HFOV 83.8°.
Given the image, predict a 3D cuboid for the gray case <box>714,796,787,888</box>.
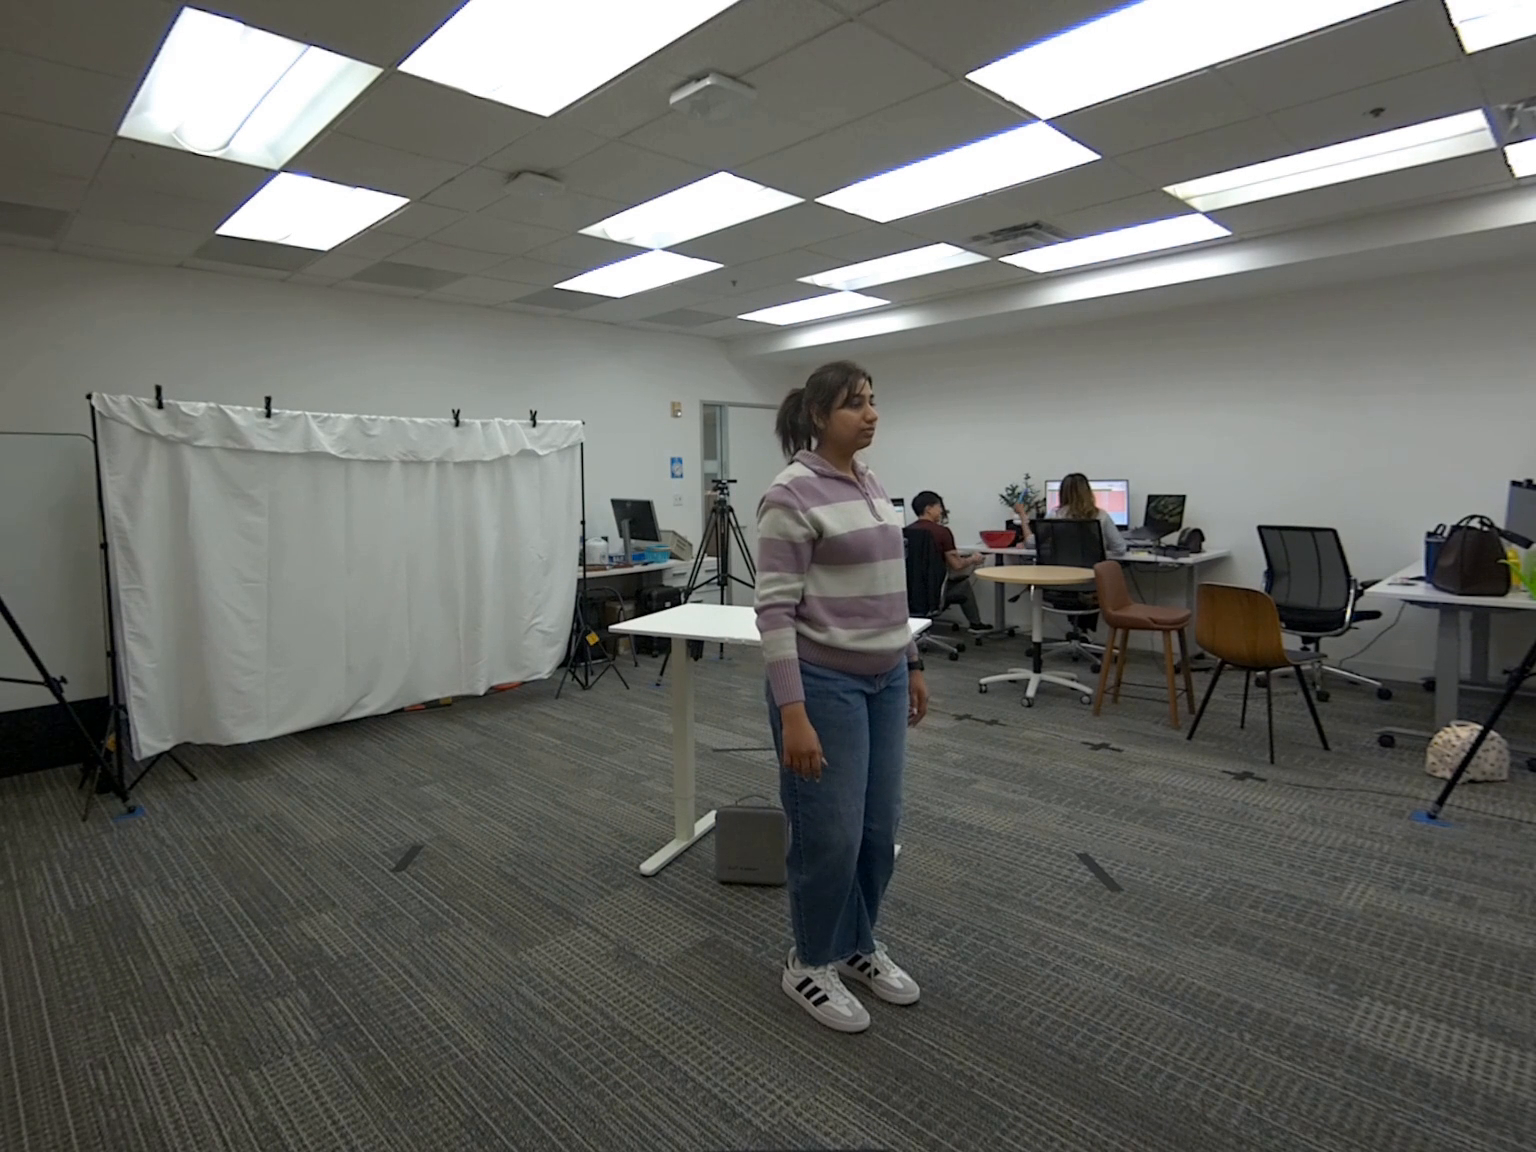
[{"bbox_3d":[-0.061,0.930,2.988,0.259,0.261,0.103,1,-3,9],"label":"gray case"}]
